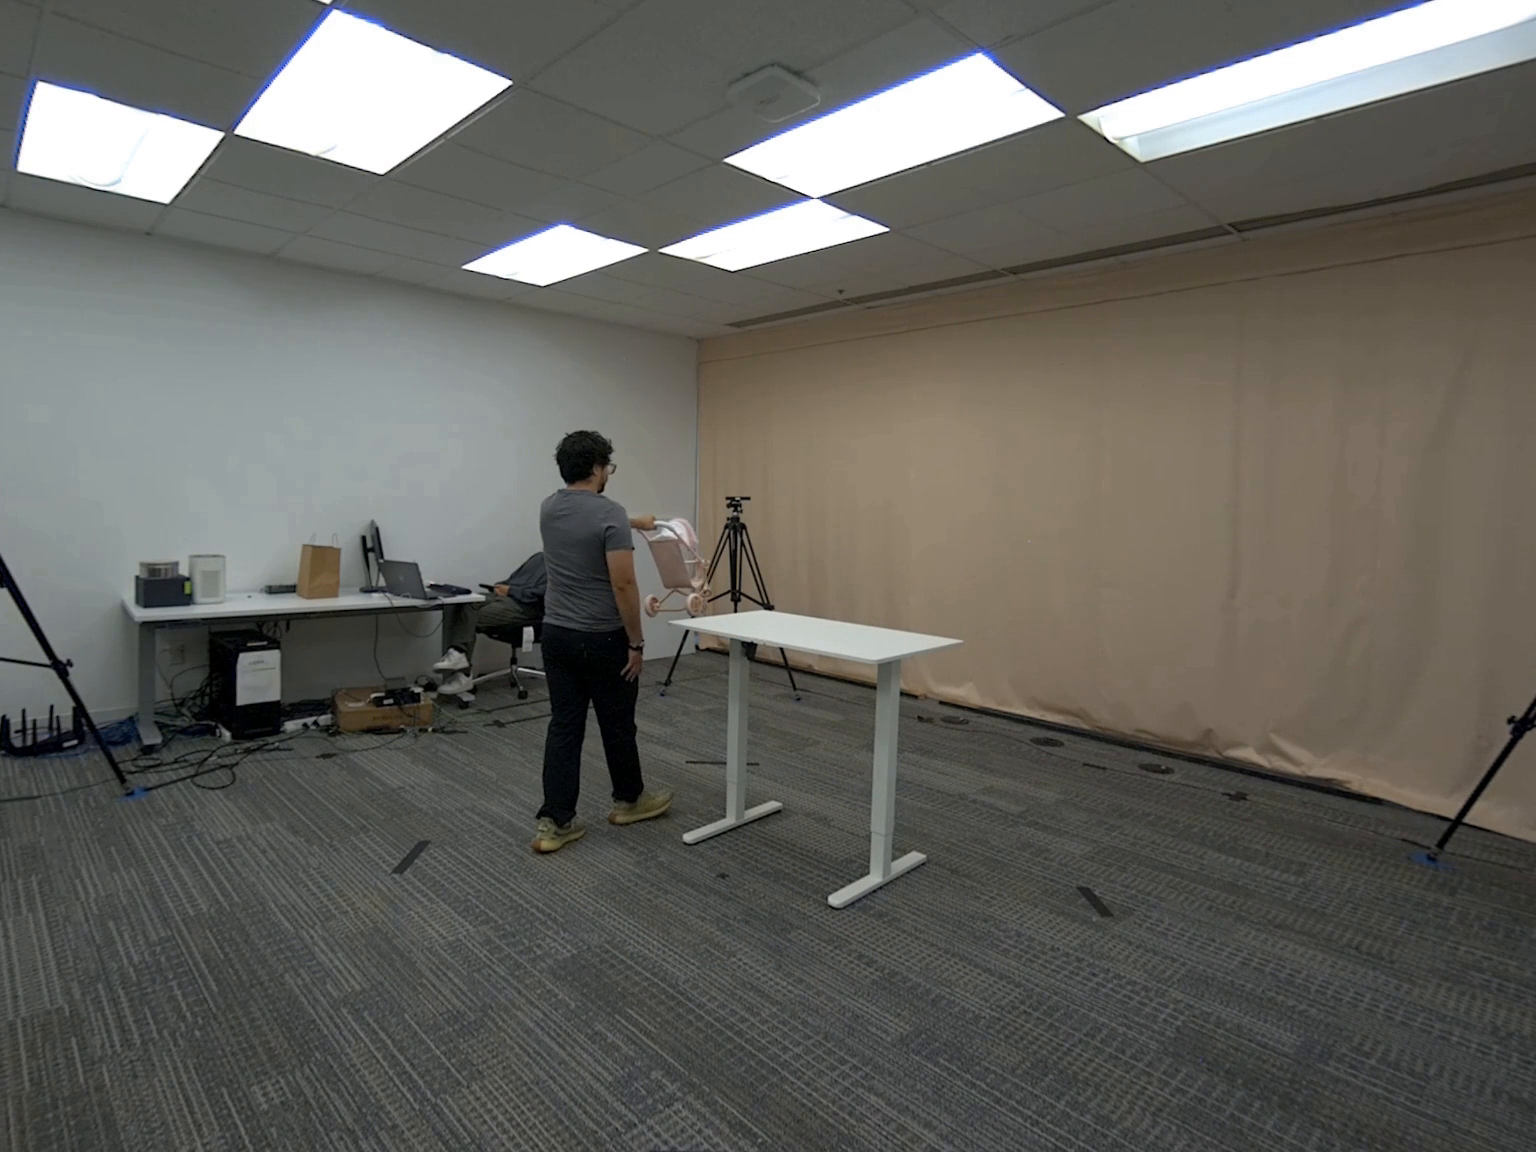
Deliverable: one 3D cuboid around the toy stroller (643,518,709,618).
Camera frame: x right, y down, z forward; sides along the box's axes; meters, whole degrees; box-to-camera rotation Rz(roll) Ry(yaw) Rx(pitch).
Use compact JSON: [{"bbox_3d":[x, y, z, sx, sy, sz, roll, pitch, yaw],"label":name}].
[{"bbox_3d":[-0.439,-0.038,4.090,0.287,0.530,0.337,-2,13,35],"label":"toy stroller"}]
